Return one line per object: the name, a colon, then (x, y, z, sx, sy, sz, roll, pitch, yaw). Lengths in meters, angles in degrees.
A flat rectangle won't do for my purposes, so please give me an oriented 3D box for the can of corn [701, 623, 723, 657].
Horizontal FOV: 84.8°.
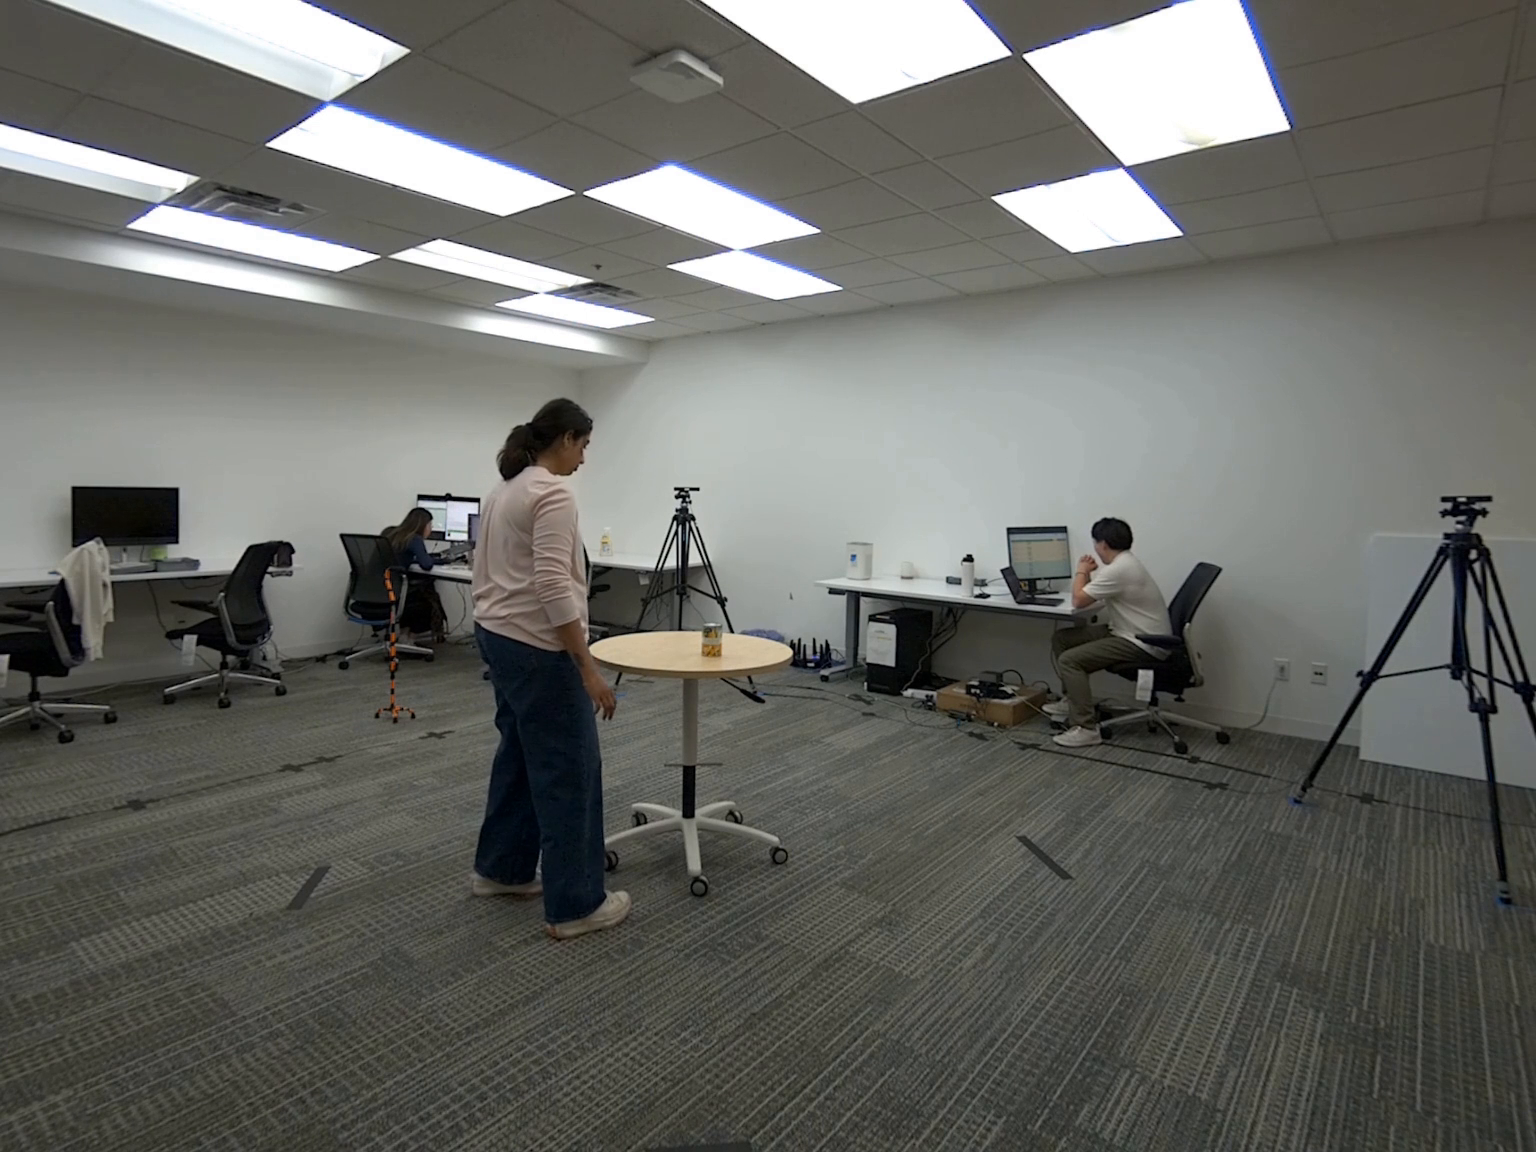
can of corn: (-0.213, 0.232, 3.088, 0.074, 0.111, 0.074, 1, 2, -2)
